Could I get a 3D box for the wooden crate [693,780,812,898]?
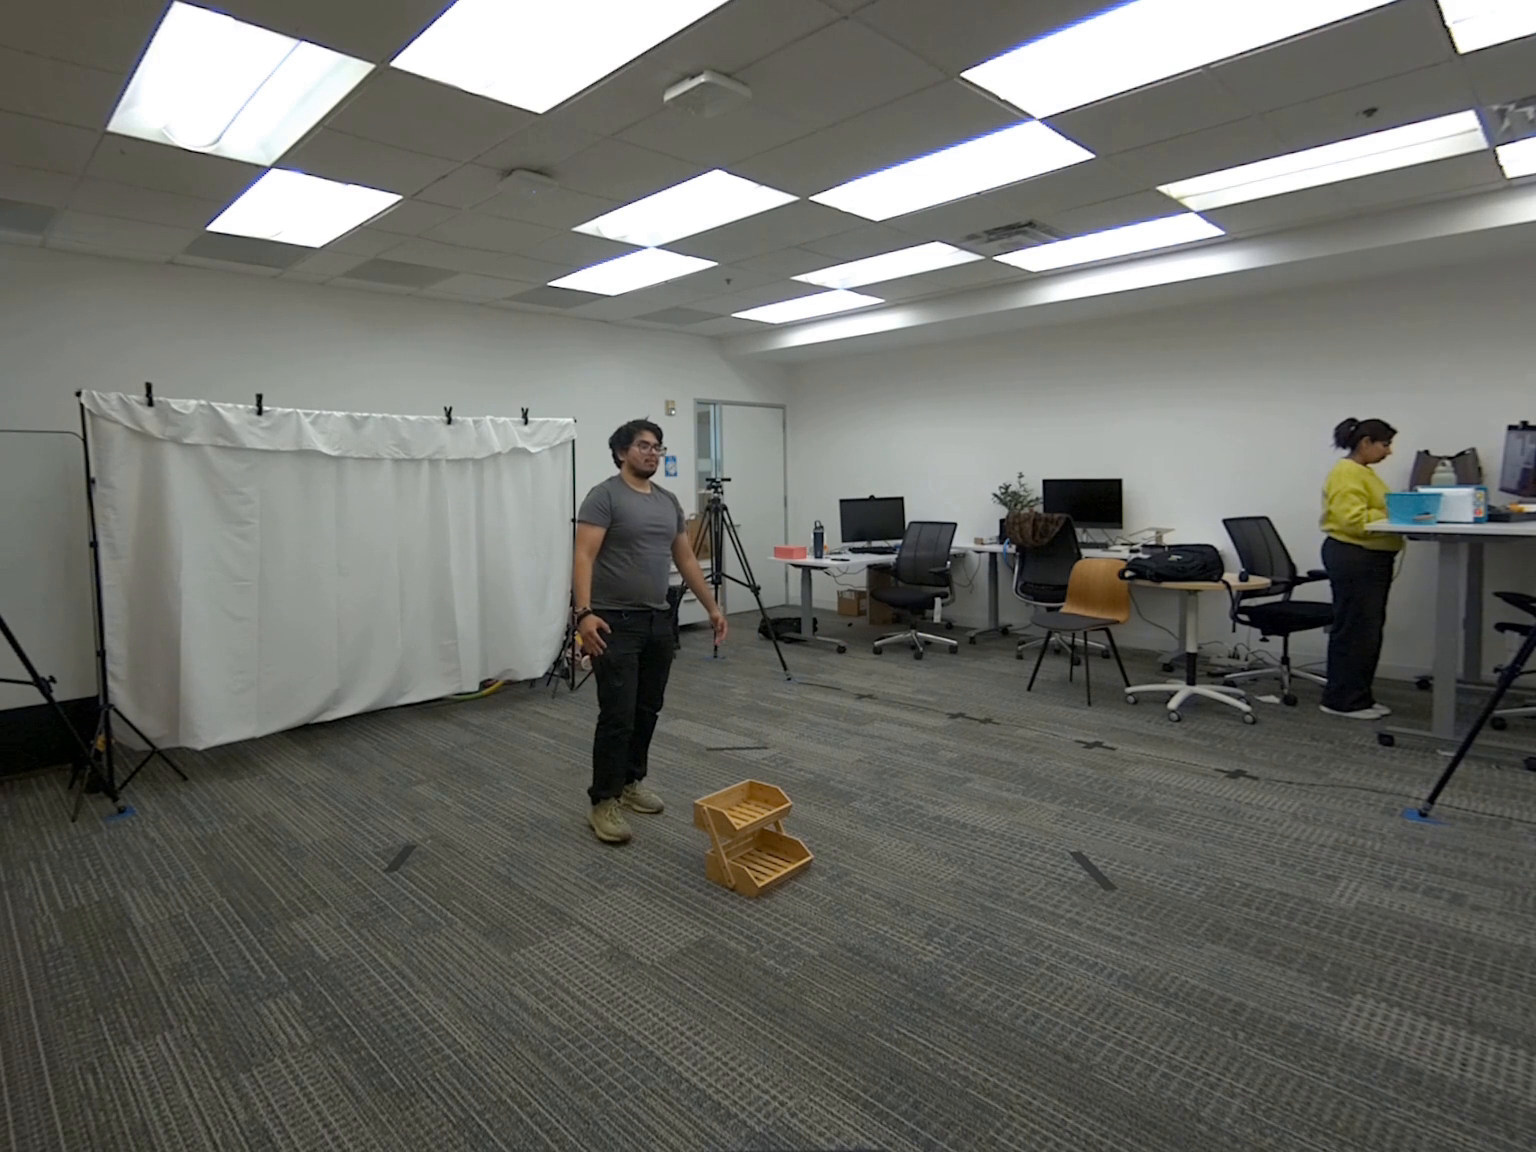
[{"bbox_3d":[-0.045,0.918,3.030,0.311,0.272,0.316,3,7,42],"label":"wooden crate"}]
